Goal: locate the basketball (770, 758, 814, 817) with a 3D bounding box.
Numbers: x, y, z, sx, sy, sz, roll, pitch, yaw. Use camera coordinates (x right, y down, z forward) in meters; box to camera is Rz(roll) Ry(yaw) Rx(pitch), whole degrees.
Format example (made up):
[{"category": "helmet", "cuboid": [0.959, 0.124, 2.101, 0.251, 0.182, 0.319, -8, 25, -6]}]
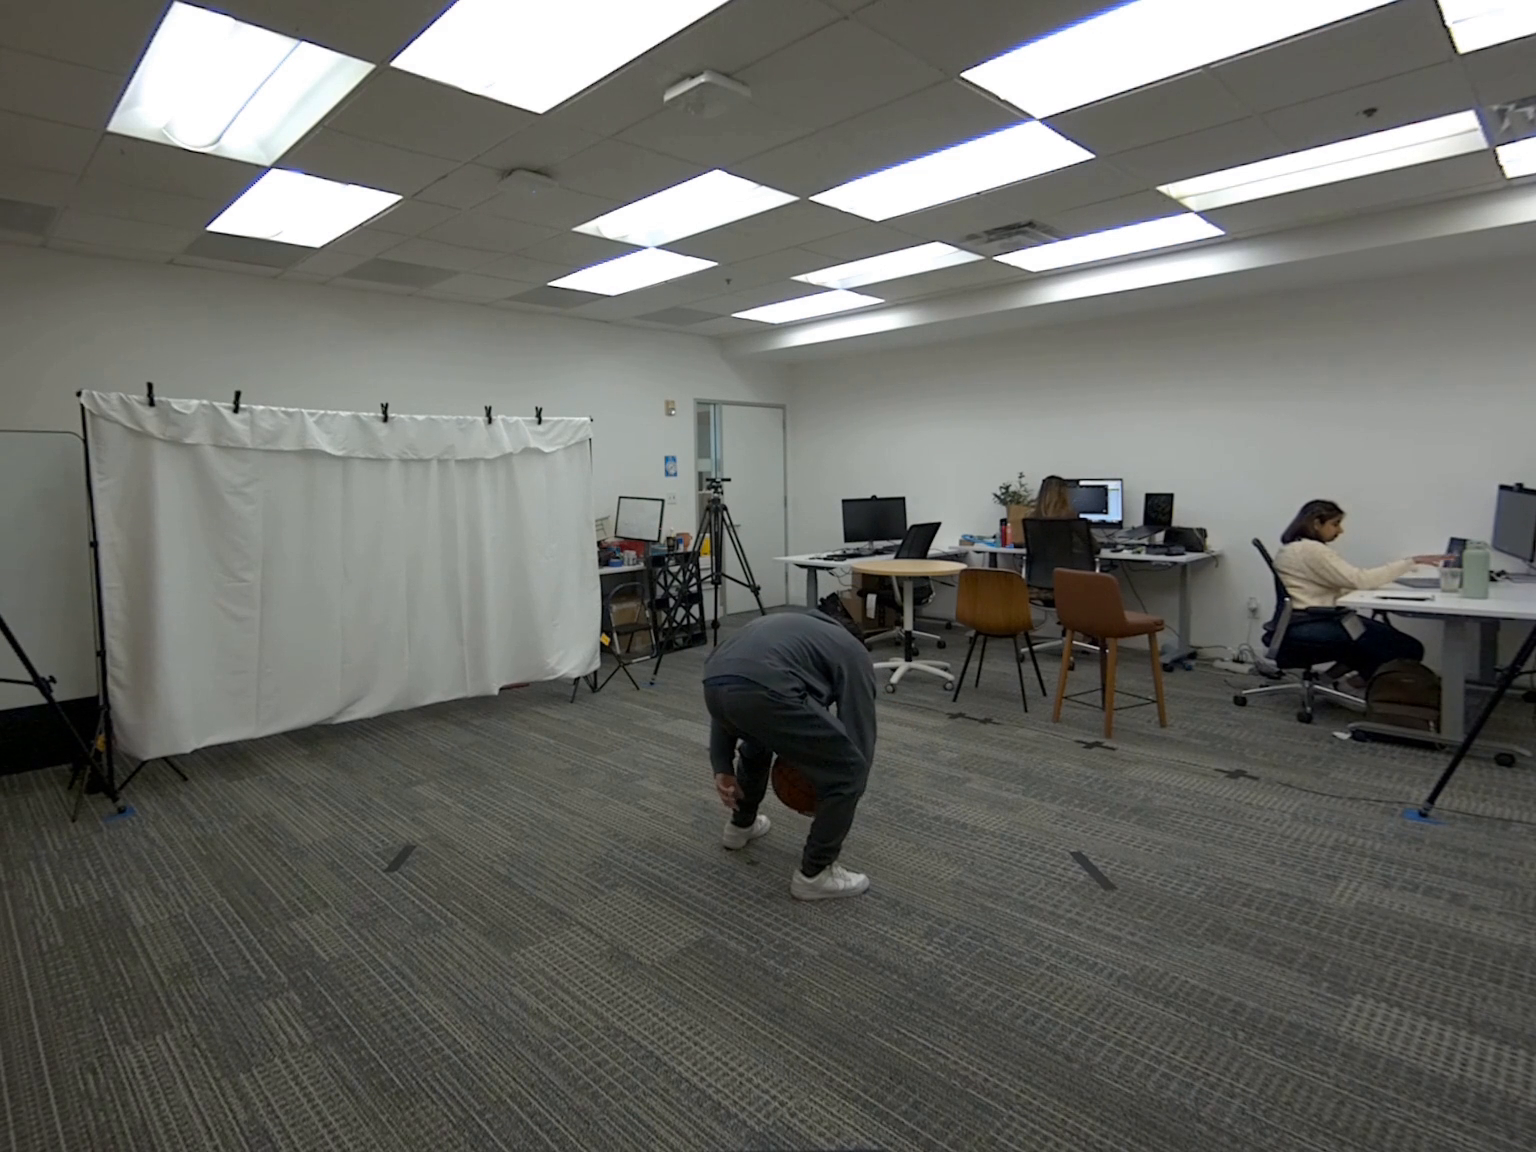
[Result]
[{"category": "basketball", "cuboid": [0.140, 0.716, 3.057, 0.236, 0.235, 0.237, -1, 5, -2]}]
